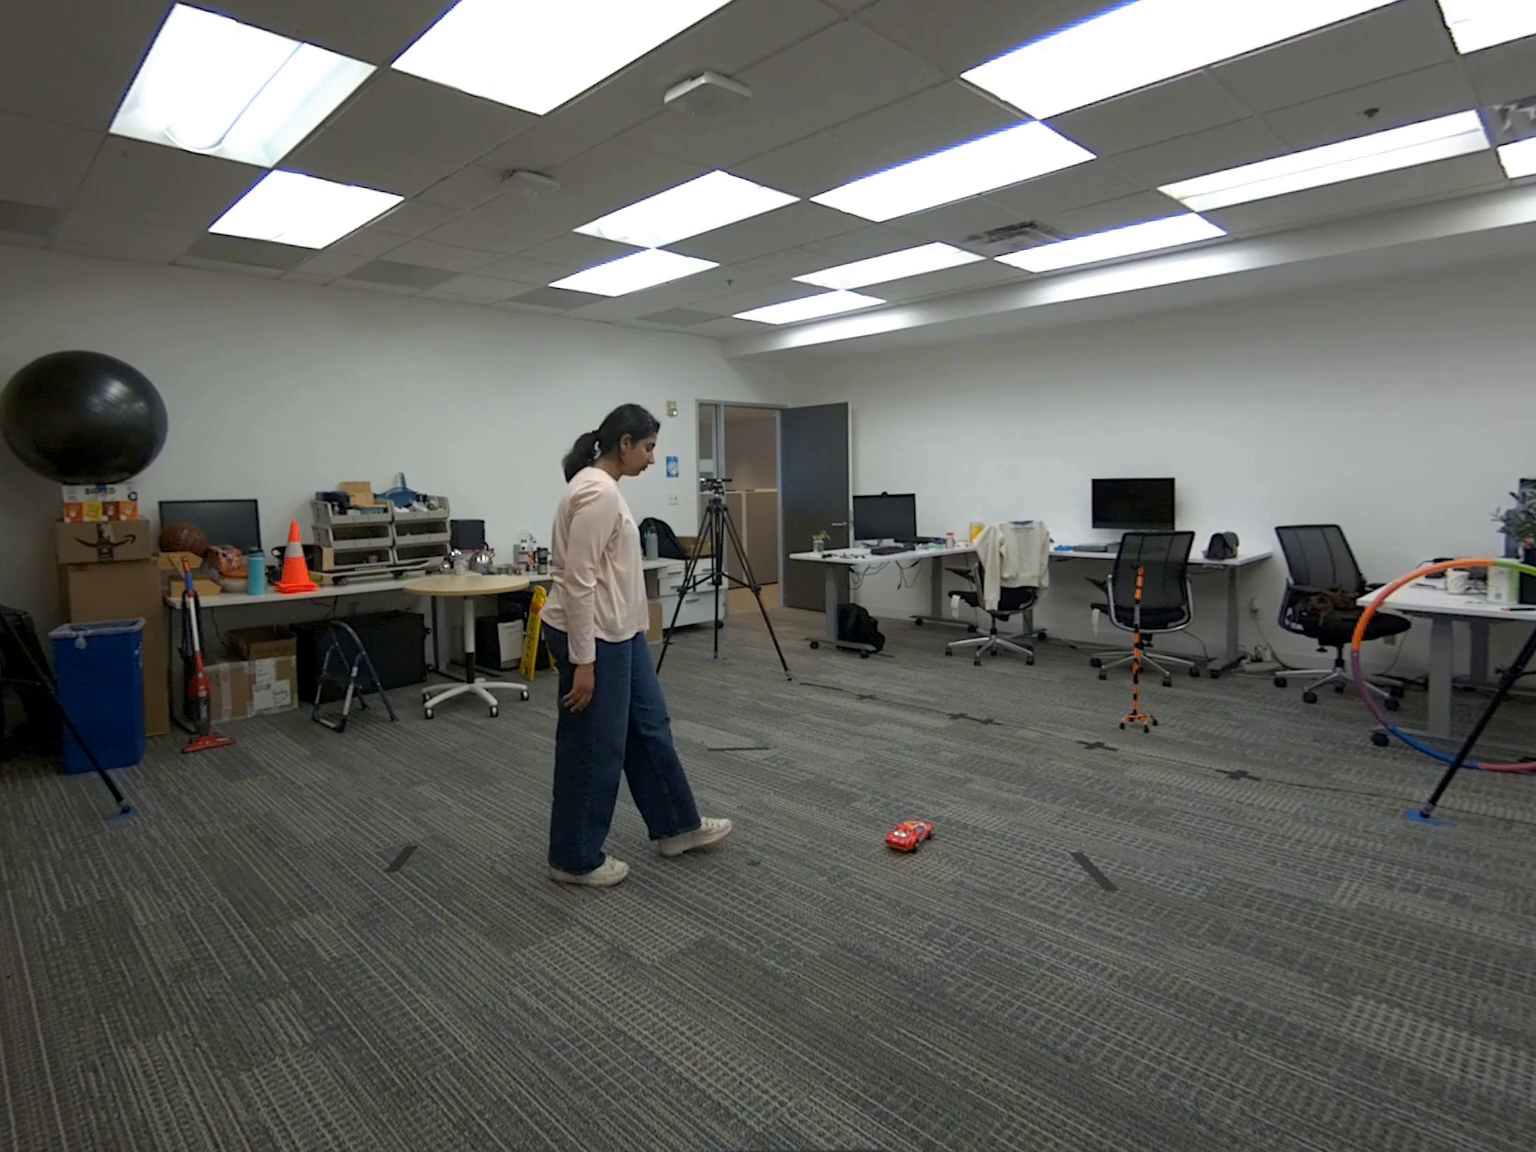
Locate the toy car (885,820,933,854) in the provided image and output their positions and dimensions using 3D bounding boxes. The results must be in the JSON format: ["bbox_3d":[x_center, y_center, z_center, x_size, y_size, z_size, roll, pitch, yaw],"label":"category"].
[{"bbox_3d":[0.542,0.990,3.246,0.134,0.083,0.246,3,-4,35],"label":"toy car"}]
